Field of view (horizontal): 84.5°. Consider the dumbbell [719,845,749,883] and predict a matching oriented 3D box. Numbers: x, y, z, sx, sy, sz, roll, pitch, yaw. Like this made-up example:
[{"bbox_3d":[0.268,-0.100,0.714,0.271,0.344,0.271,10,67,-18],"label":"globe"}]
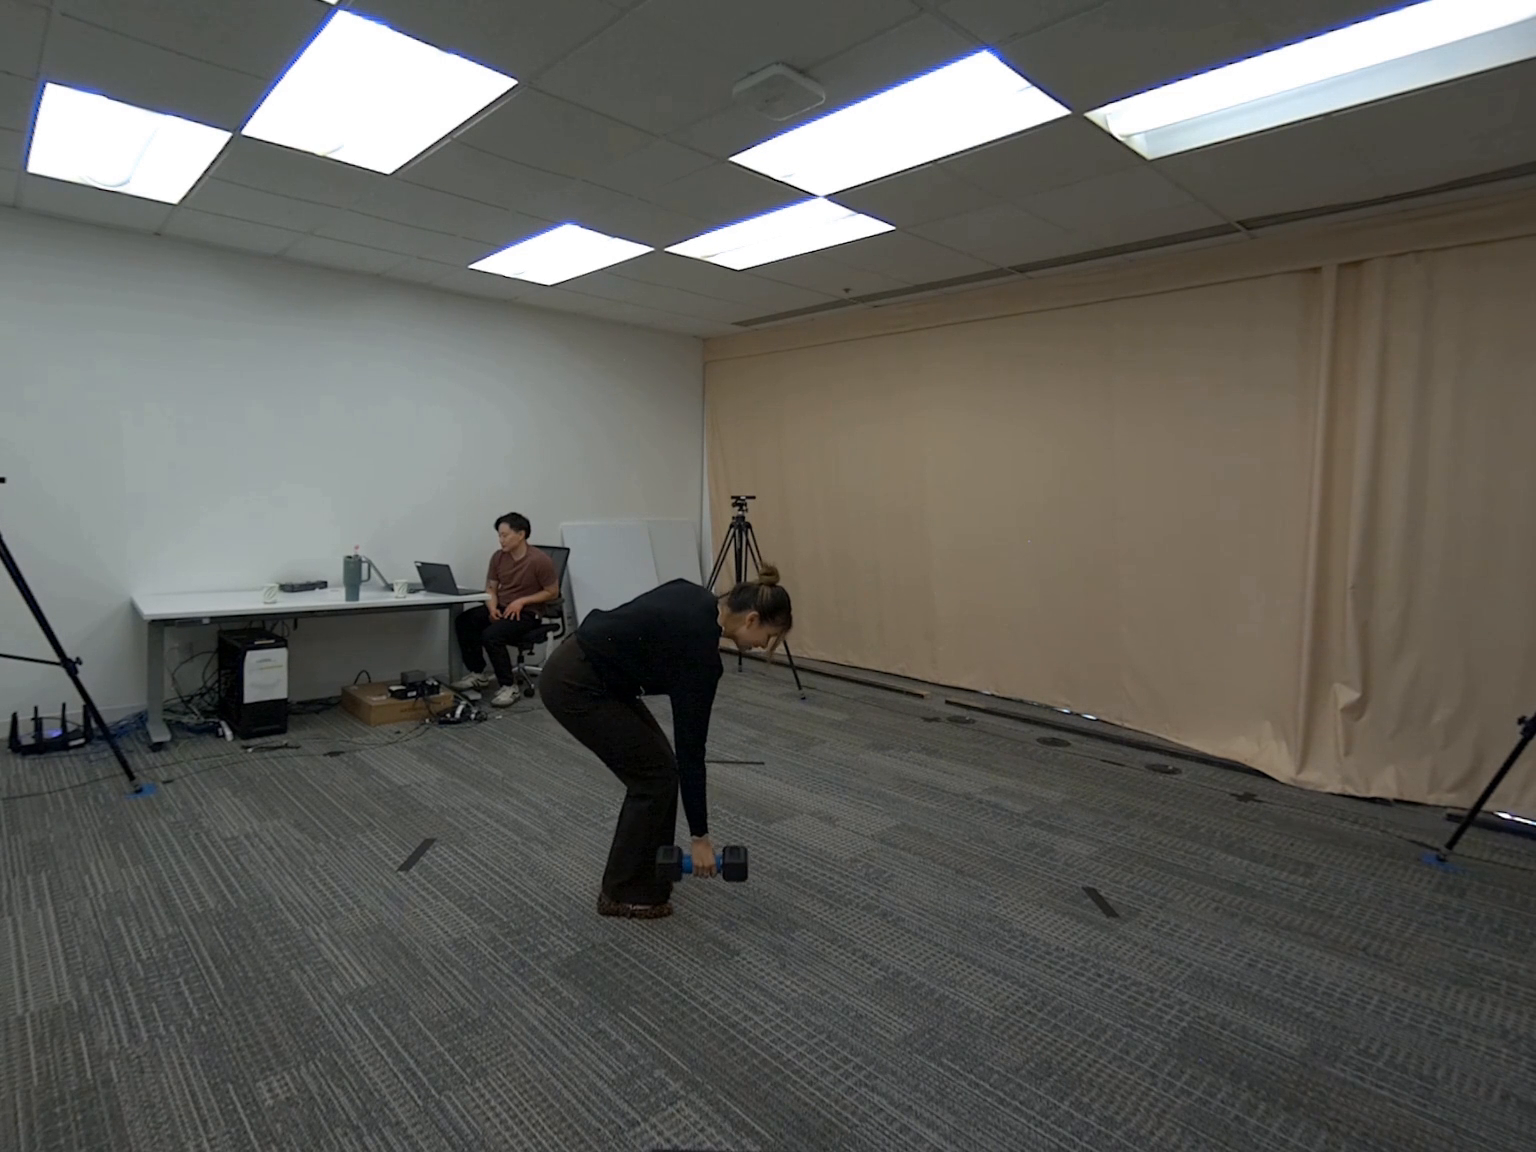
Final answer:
[{"bbox_3d":[-0.219,0.926,2.695,0.294,0.110,0.121,-1,-25,2],"label":"dumbbell"}]
